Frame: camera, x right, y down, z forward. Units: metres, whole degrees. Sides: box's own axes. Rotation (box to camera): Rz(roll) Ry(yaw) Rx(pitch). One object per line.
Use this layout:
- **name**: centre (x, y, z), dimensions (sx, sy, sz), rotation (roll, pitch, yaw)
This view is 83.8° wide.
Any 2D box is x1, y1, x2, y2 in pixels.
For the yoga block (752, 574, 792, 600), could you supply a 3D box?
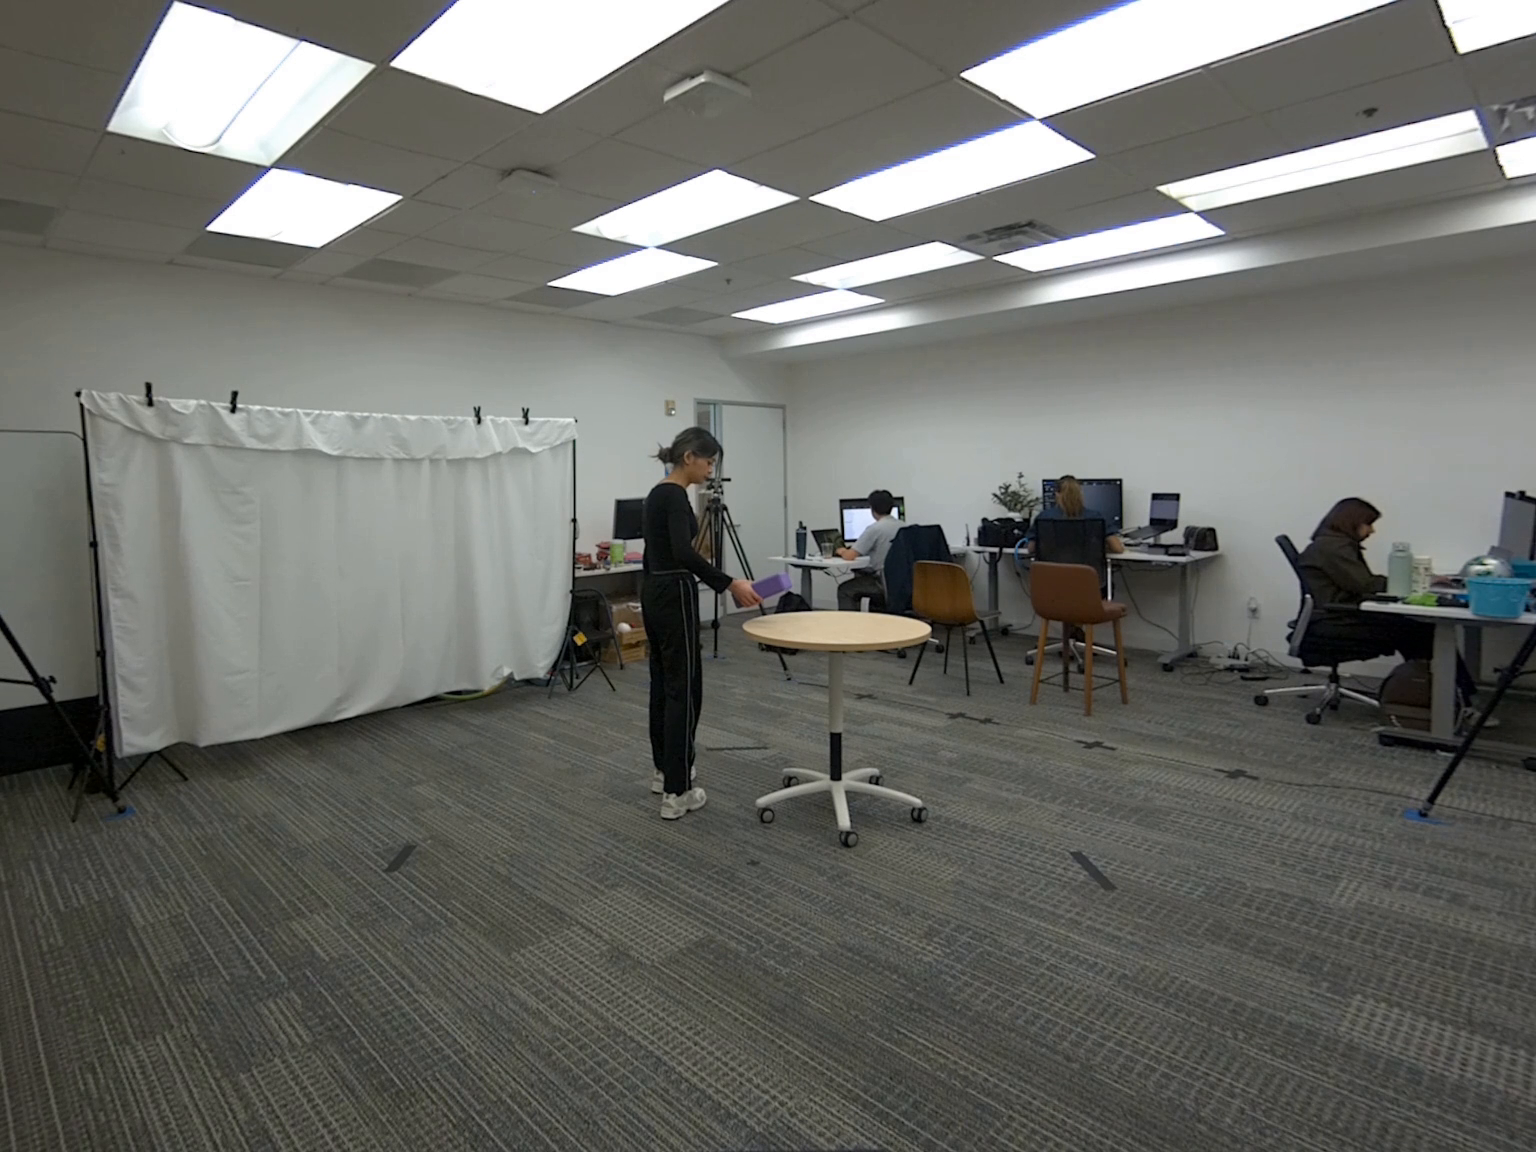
- **yoga block**: centre (-0.040, 0.055, 3.612), dimensions (0.231, 0.076, 0.148), rotation (-18, 1, 10)
